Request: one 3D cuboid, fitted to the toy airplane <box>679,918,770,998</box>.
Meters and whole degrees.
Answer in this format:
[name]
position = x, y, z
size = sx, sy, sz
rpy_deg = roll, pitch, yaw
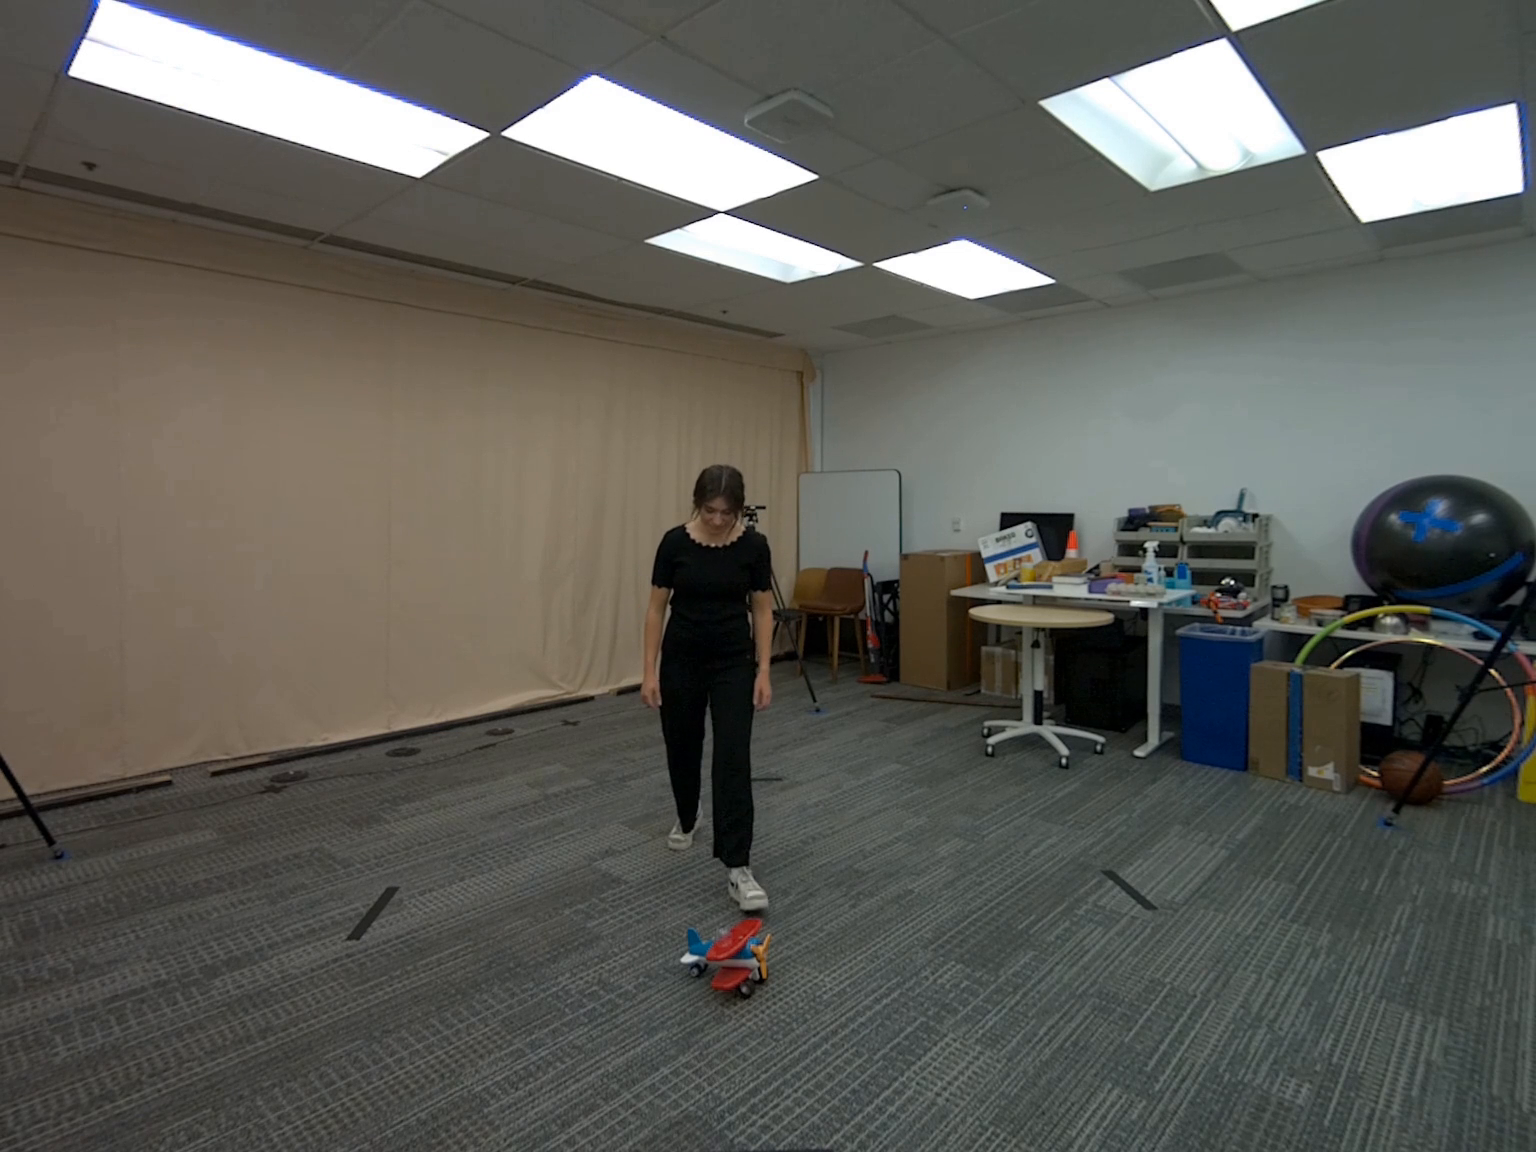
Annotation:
[toy airplane]
position = -0.126, 1.116, 2.435
size = 0.259, 0.156, 0.251
rpy_deg = 1, 4, 0
